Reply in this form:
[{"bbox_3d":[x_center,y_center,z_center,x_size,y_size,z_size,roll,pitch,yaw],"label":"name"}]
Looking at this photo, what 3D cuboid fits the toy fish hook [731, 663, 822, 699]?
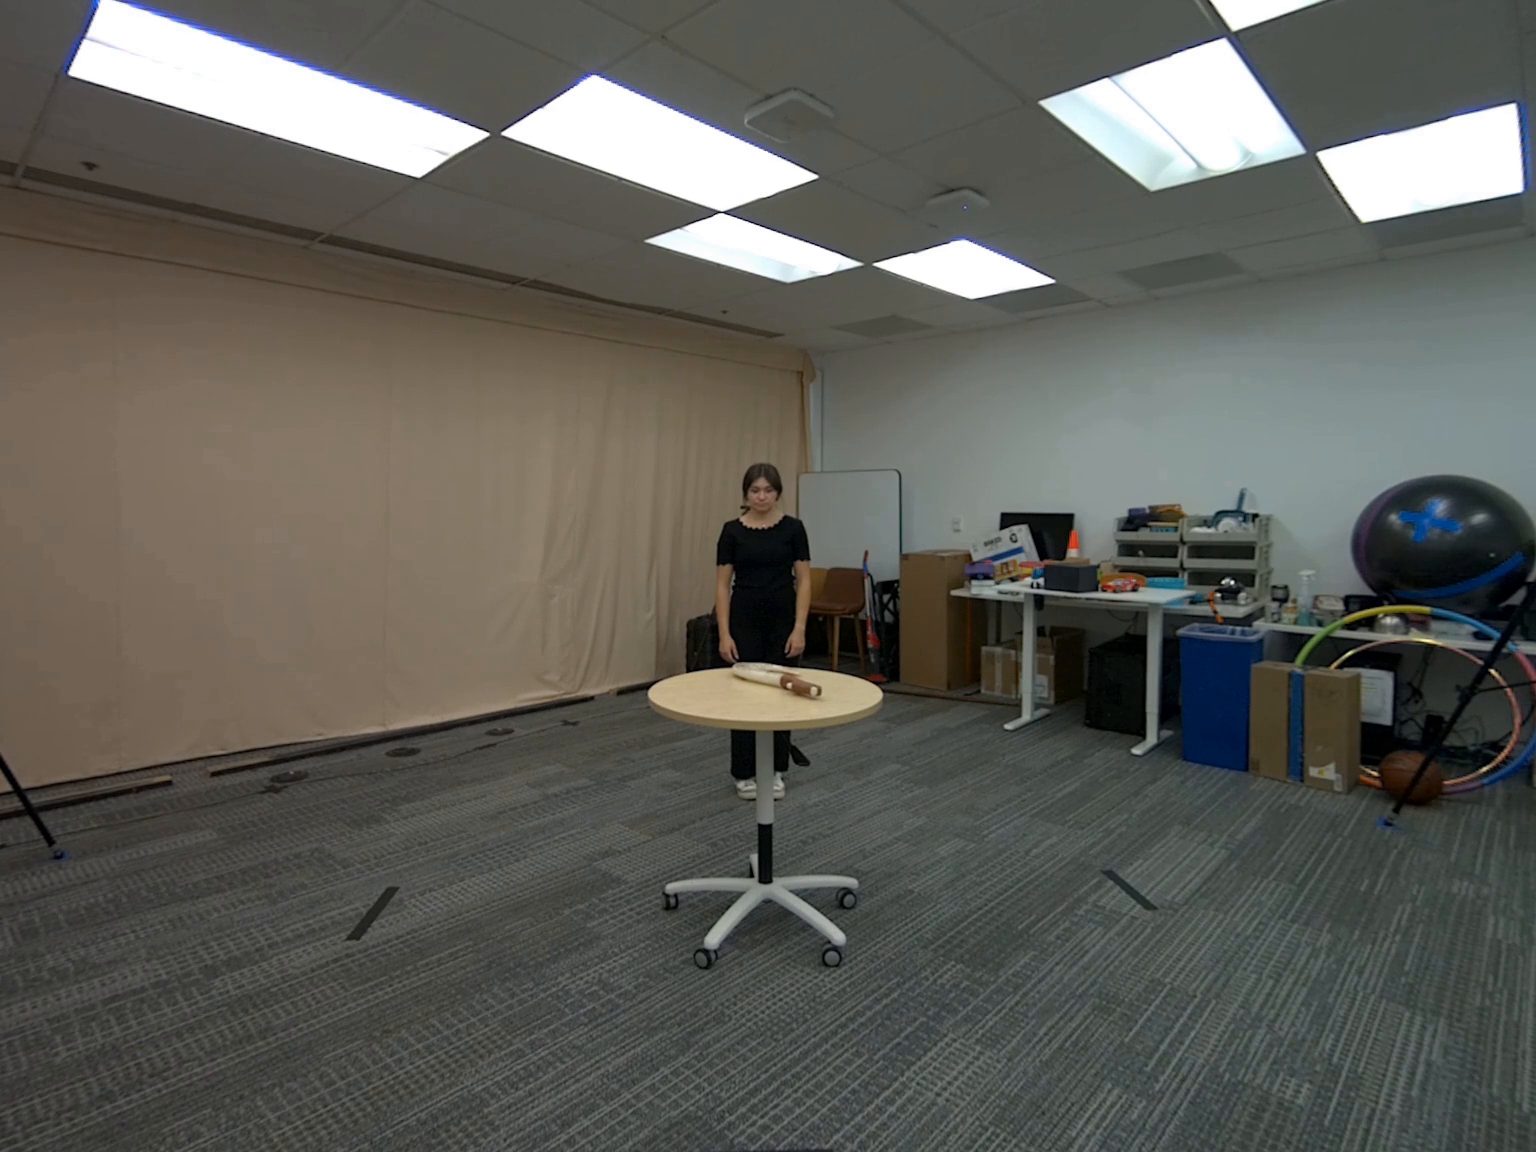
[{"bbox_3d":[0.075,0.339,2.873,0.220,0.048,0.521,-14,10,-28],"label":"toy fish hook"}]
